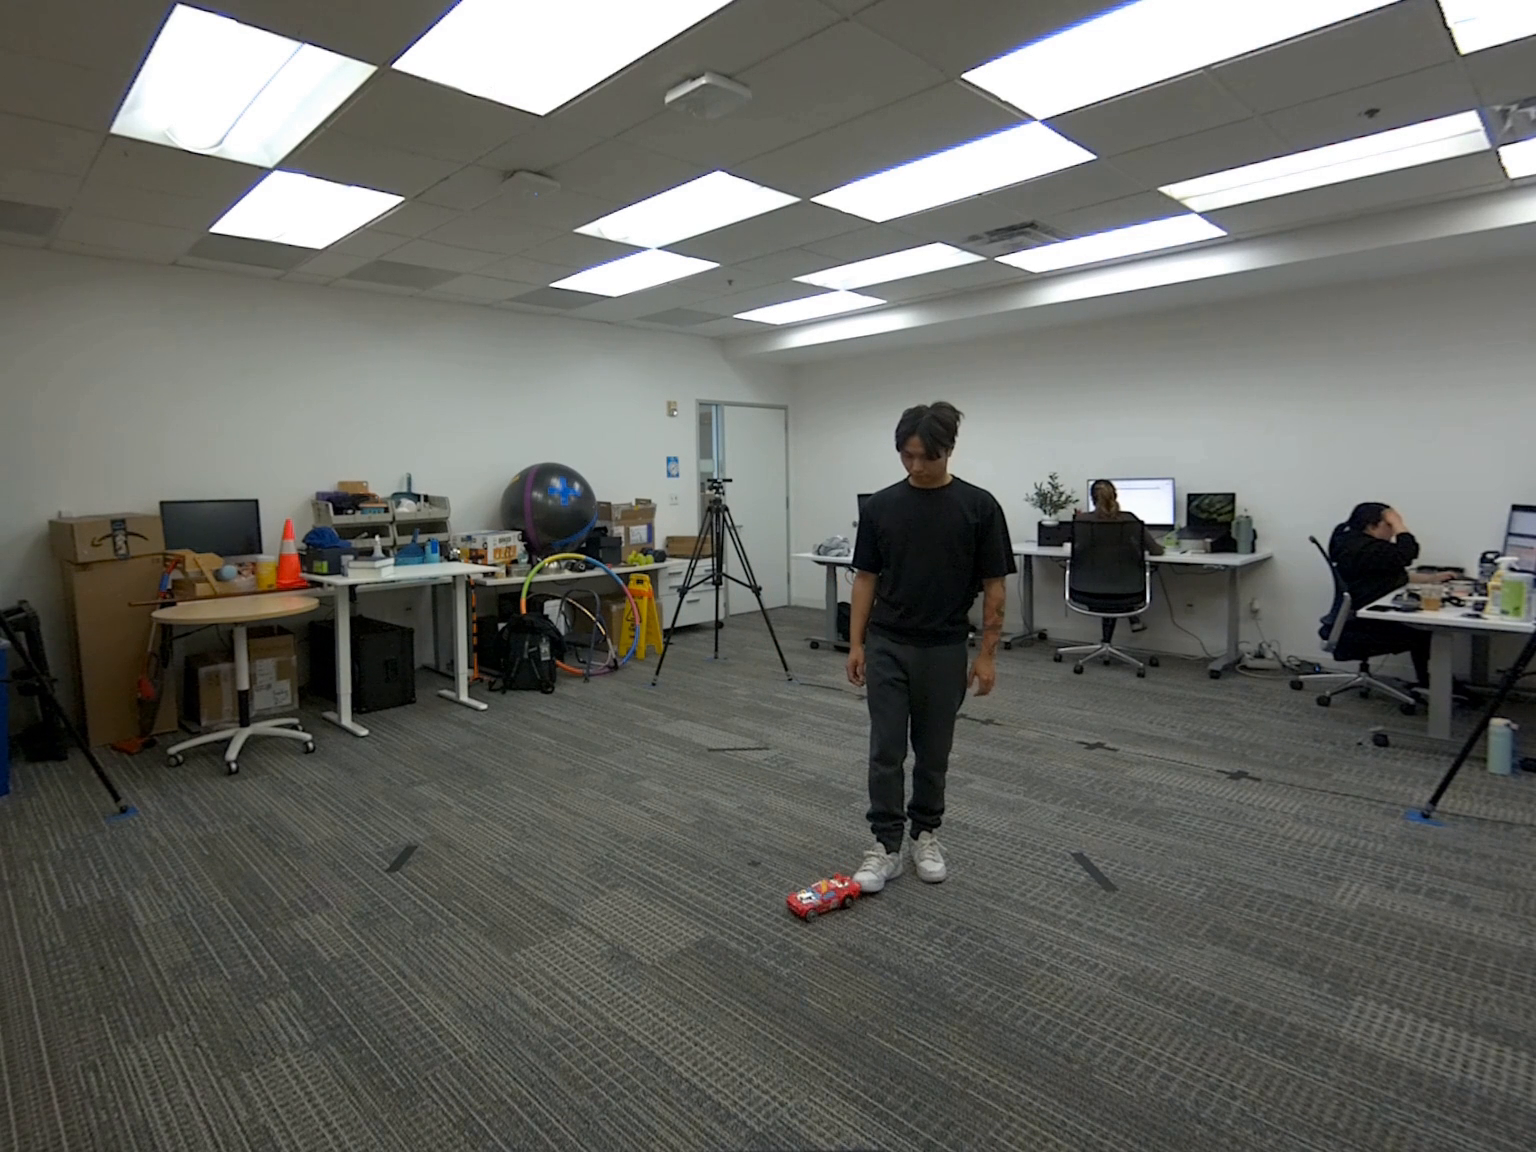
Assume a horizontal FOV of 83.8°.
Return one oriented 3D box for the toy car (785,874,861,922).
[{"bbox_3d":[0.192,1.046,2.780,0.250,0.082,0.134,-18,14,-29],"label":"toy car"}]
